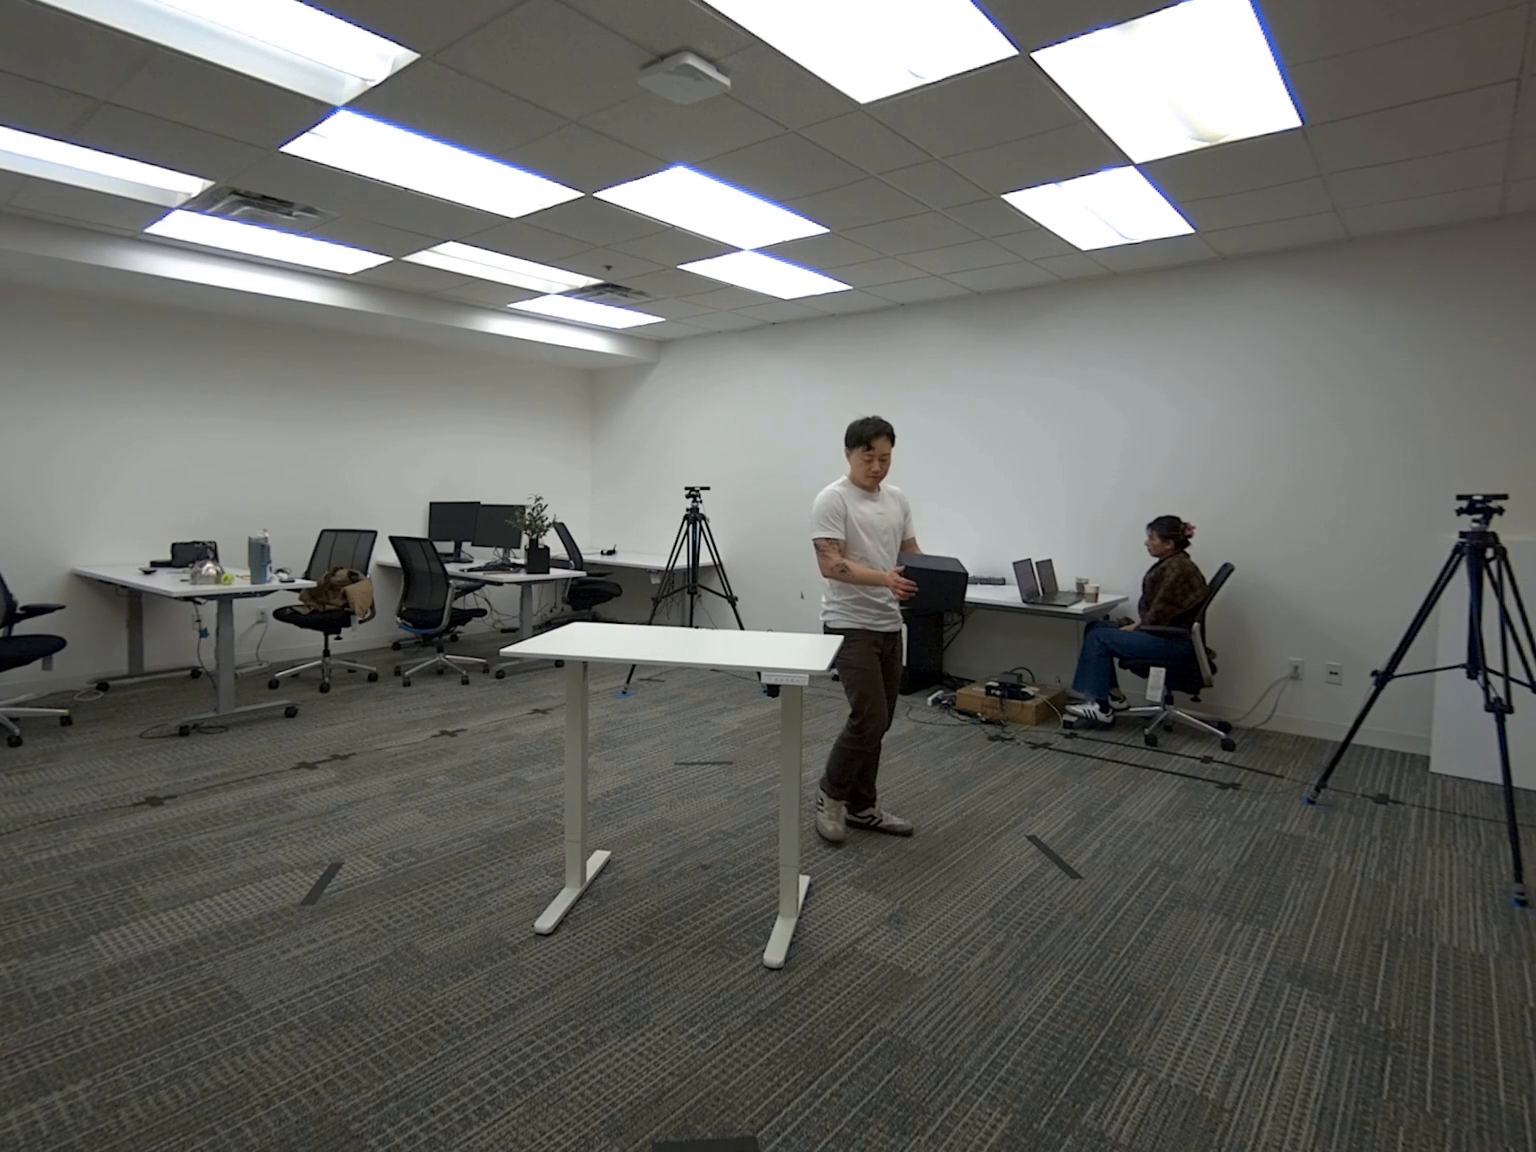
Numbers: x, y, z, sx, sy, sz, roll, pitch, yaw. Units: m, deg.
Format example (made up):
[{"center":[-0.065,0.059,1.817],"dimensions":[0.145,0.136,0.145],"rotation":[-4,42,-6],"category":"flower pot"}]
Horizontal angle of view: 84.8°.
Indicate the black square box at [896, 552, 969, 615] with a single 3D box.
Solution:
[{"center":[0.589,0.022,3.163],"dimensions":[0.228,0.154,0.219],"rotation":[6,15,1],"category":"black square box"}]
